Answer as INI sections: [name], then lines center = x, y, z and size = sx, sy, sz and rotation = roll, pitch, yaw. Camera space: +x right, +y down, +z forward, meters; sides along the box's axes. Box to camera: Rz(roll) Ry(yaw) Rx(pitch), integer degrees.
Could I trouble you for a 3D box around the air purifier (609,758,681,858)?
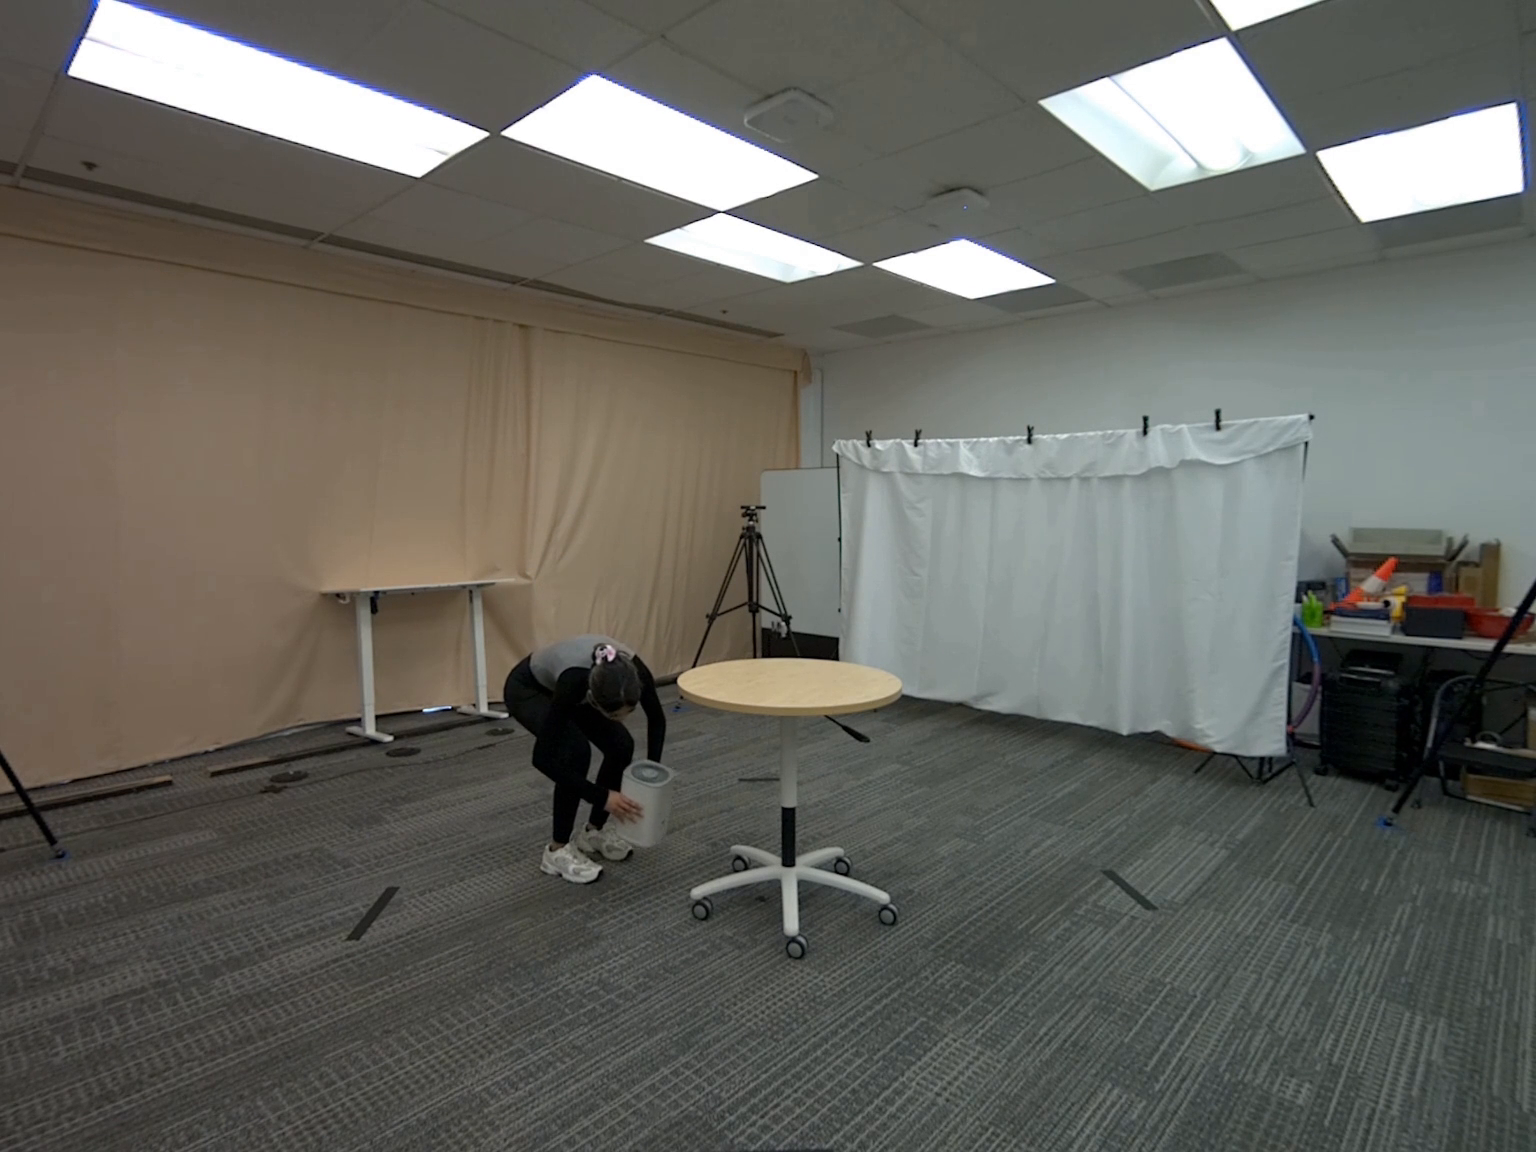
[air purifier]
center = -0.455, 0.844, 3.105
size = 0.175, 0.264, 0.168
rotation = 13, 11, 17
